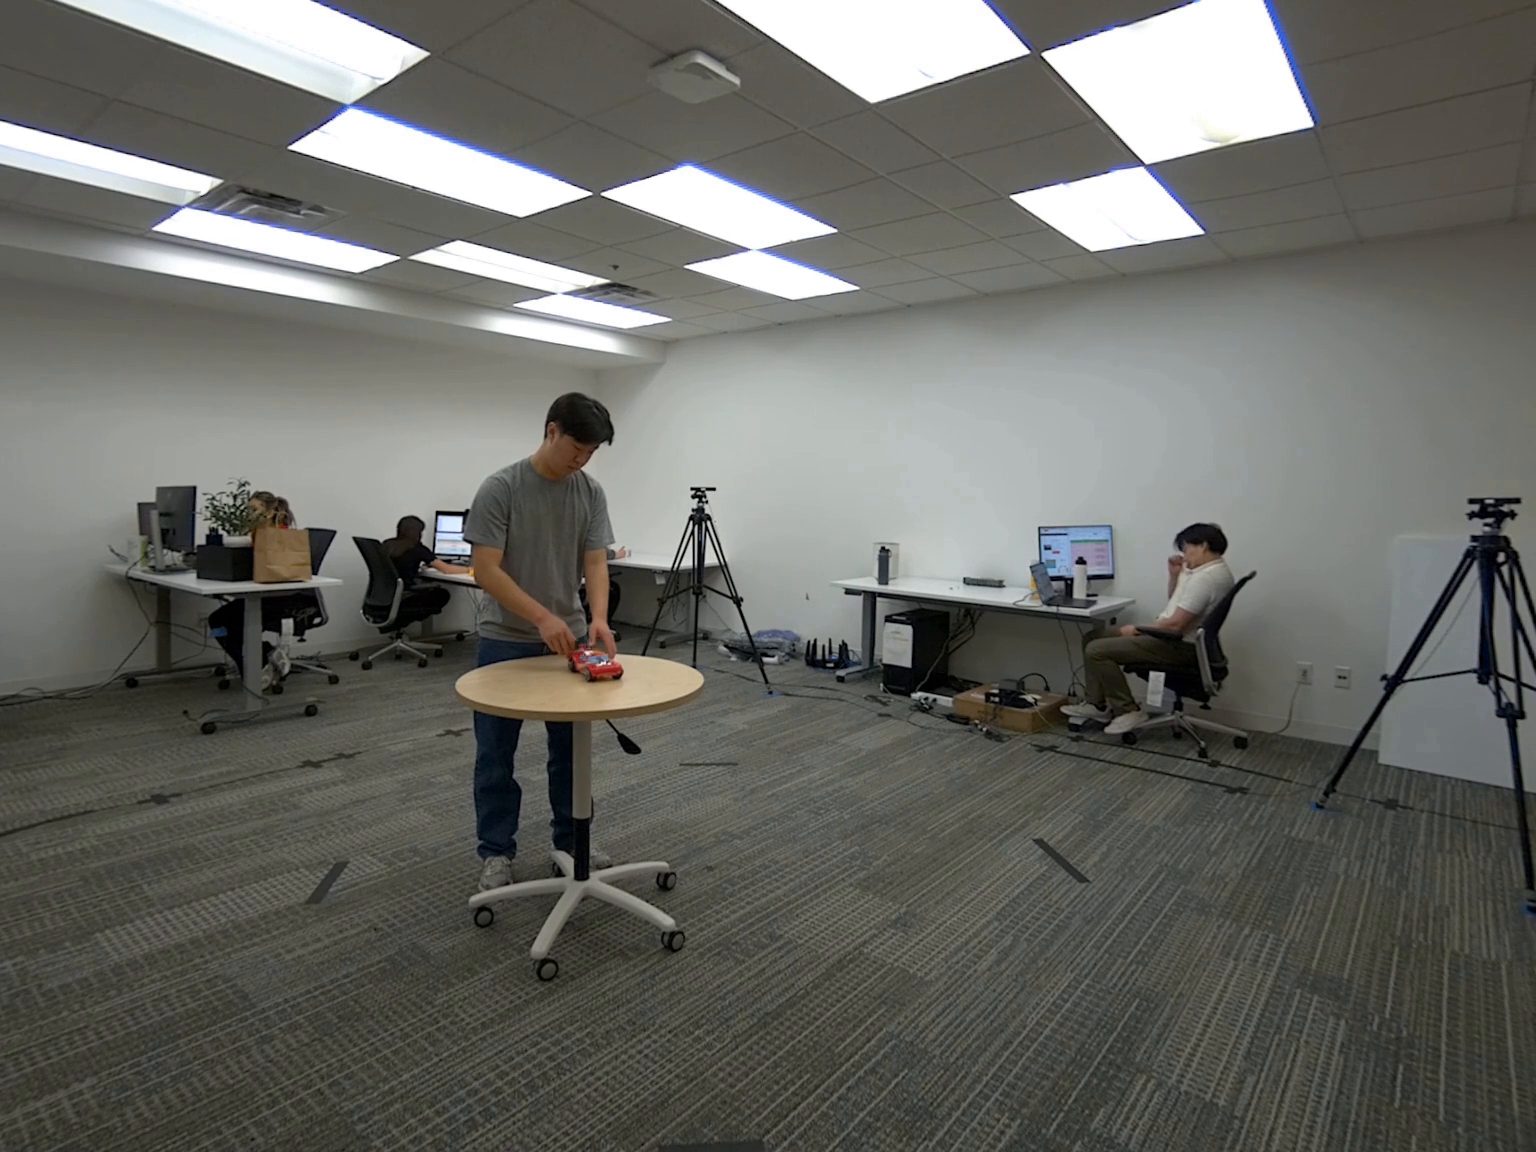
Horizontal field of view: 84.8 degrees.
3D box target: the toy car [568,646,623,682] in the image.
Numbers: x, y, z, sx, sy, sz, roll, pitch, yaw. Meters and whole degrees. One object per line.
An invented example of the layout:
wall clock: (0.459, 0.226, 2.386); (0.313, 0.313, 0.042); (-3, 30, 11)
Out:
toy car: (-0.584, 0.284, 2.731); (0.127, 0.082, 0.264); (-2, 16, -32)
